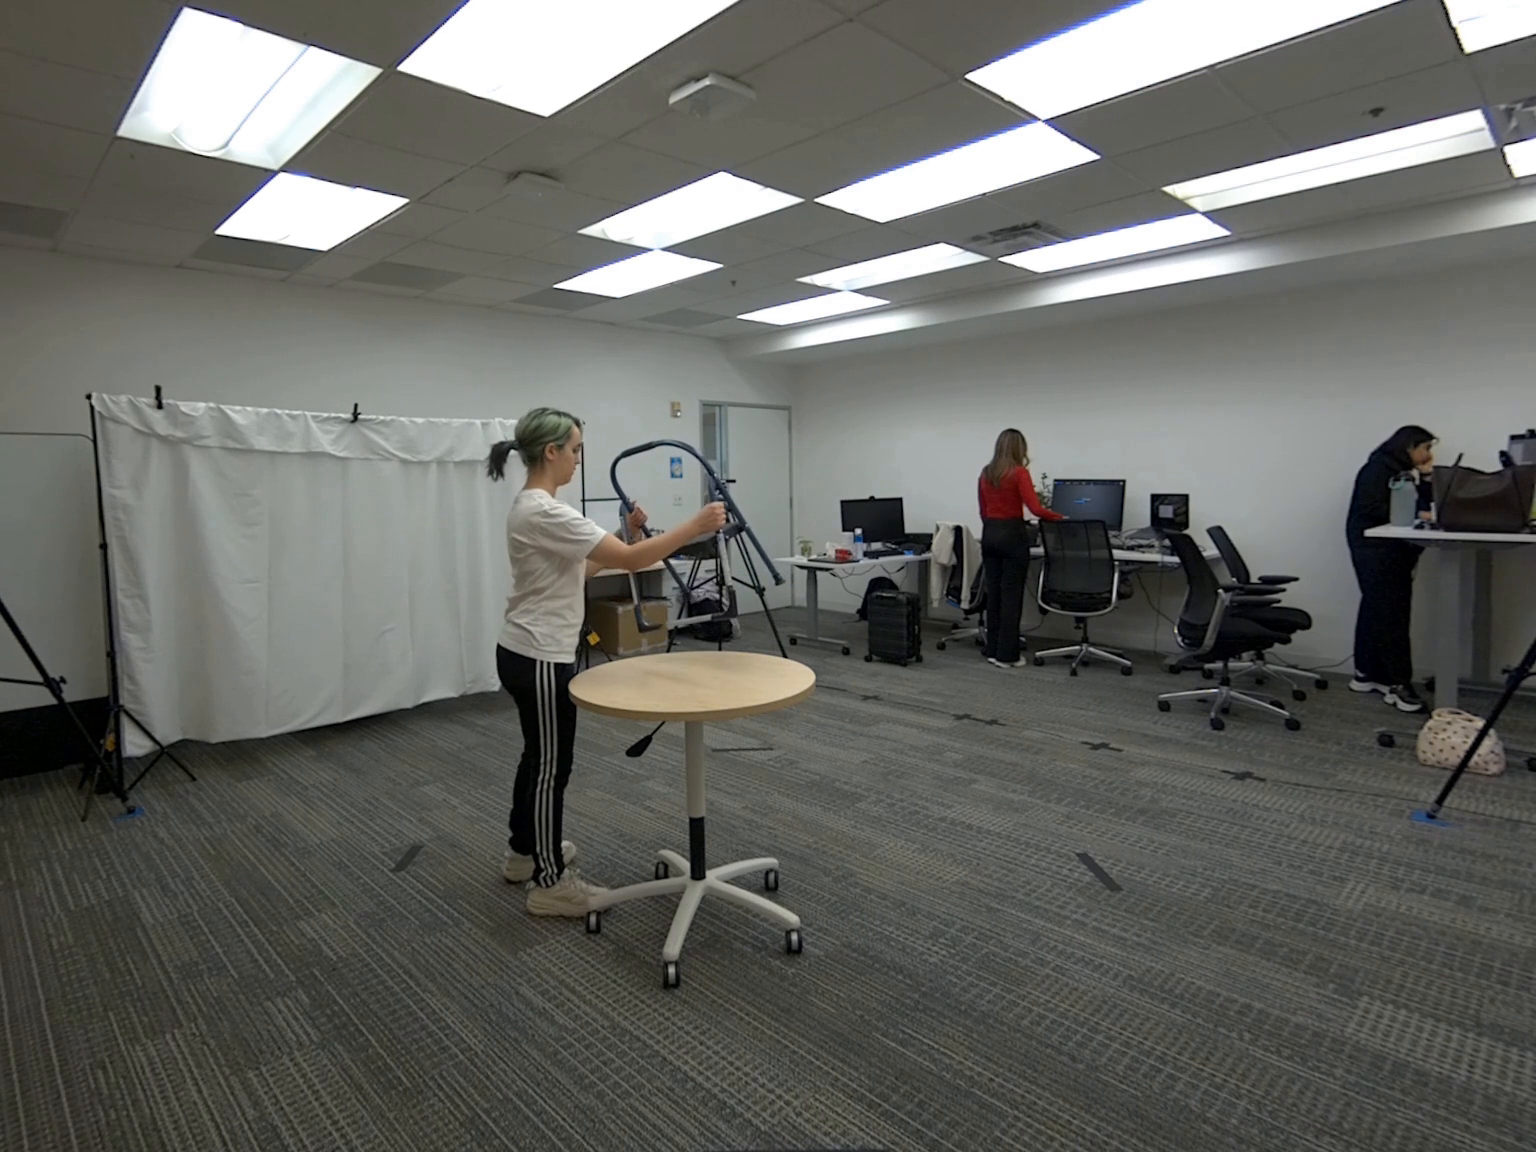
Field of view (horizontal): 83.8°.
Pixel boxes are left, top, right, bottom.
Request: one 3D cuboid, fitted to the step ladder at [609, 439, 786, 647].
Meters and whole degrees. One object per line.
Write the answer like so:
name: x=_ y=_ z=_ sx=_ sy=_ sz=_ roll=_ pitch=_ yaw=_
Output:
step ladder: x=-0.295 y=-0.164 z=2.900 sx=0.439 sy=0.600 sz=0.345 roll=-14 pitch=10 yaw=34
